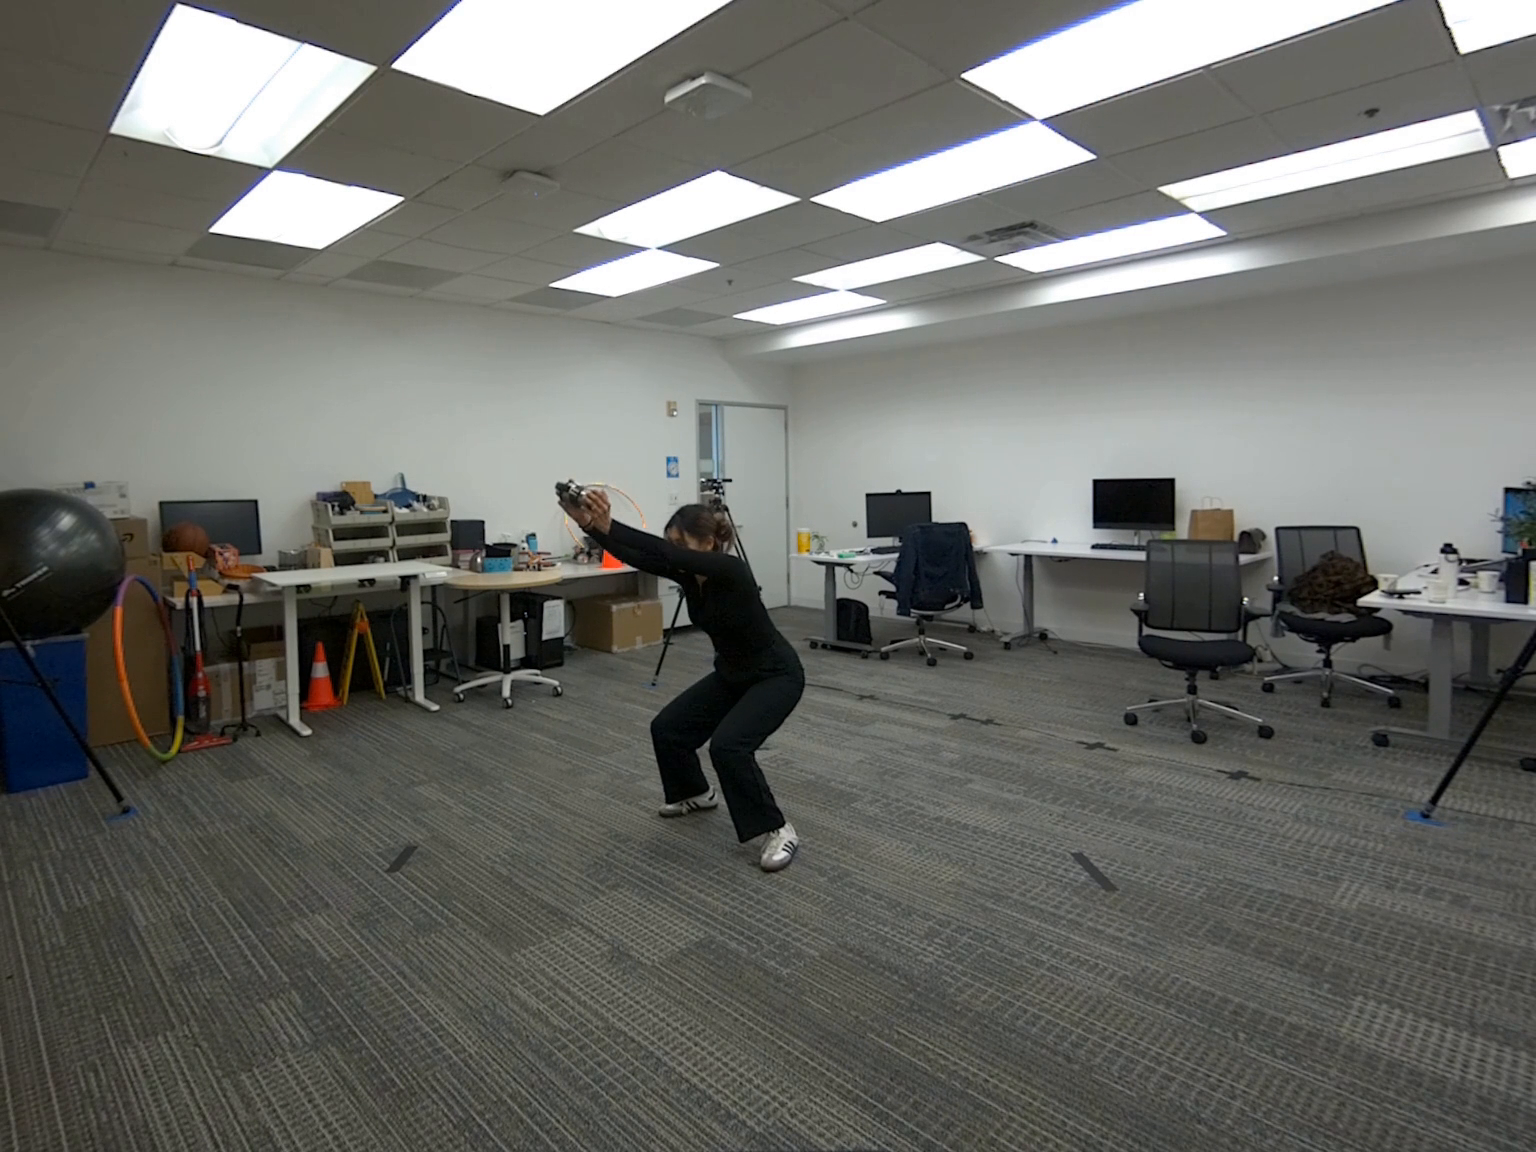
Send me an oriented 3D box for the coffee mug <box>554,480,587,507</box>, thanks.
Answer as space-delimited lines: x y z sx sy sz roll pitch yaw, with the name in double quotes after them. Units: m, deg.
-0.644 -0.271 2.917 0.119 0.087 0.210 -1 14 -34 "coffee mug"
